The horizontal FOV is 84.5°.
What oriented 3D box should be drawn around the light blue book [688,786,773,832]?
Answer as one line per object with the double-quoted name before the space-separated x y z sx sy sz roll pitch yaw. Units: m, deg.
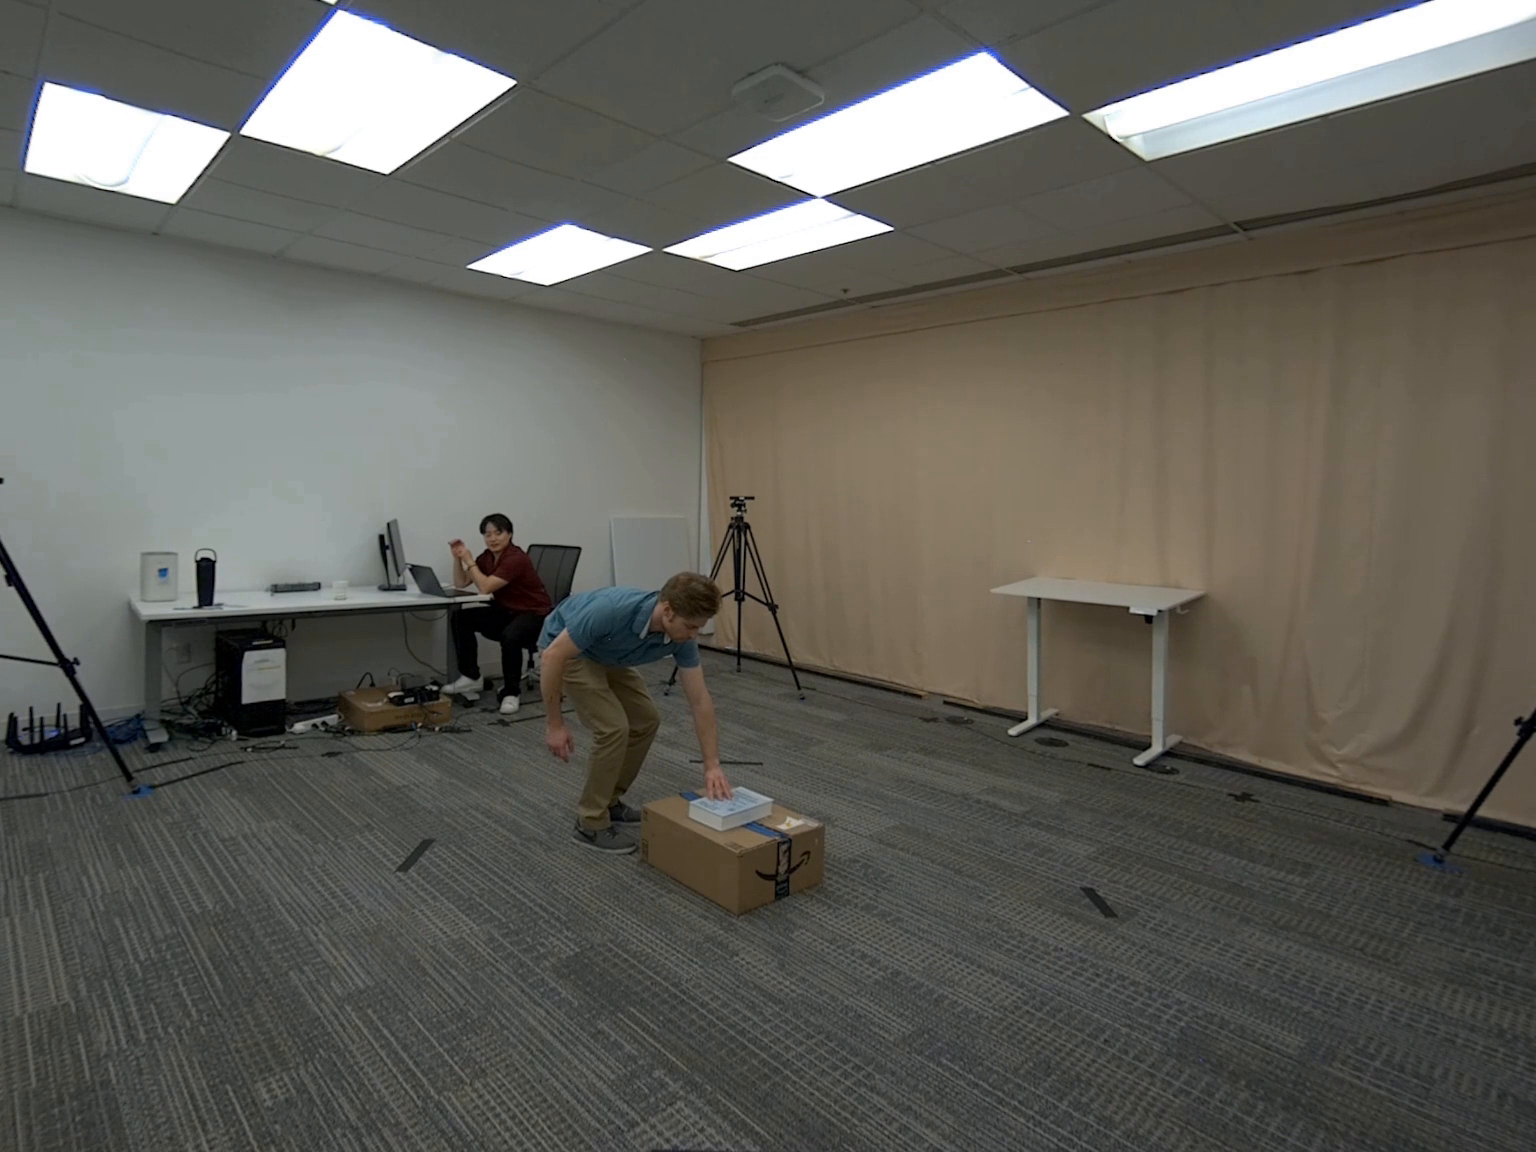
"light blue book" -0.151 0.861 3.124 0.255 0.059 0.196 -4 7 -45
